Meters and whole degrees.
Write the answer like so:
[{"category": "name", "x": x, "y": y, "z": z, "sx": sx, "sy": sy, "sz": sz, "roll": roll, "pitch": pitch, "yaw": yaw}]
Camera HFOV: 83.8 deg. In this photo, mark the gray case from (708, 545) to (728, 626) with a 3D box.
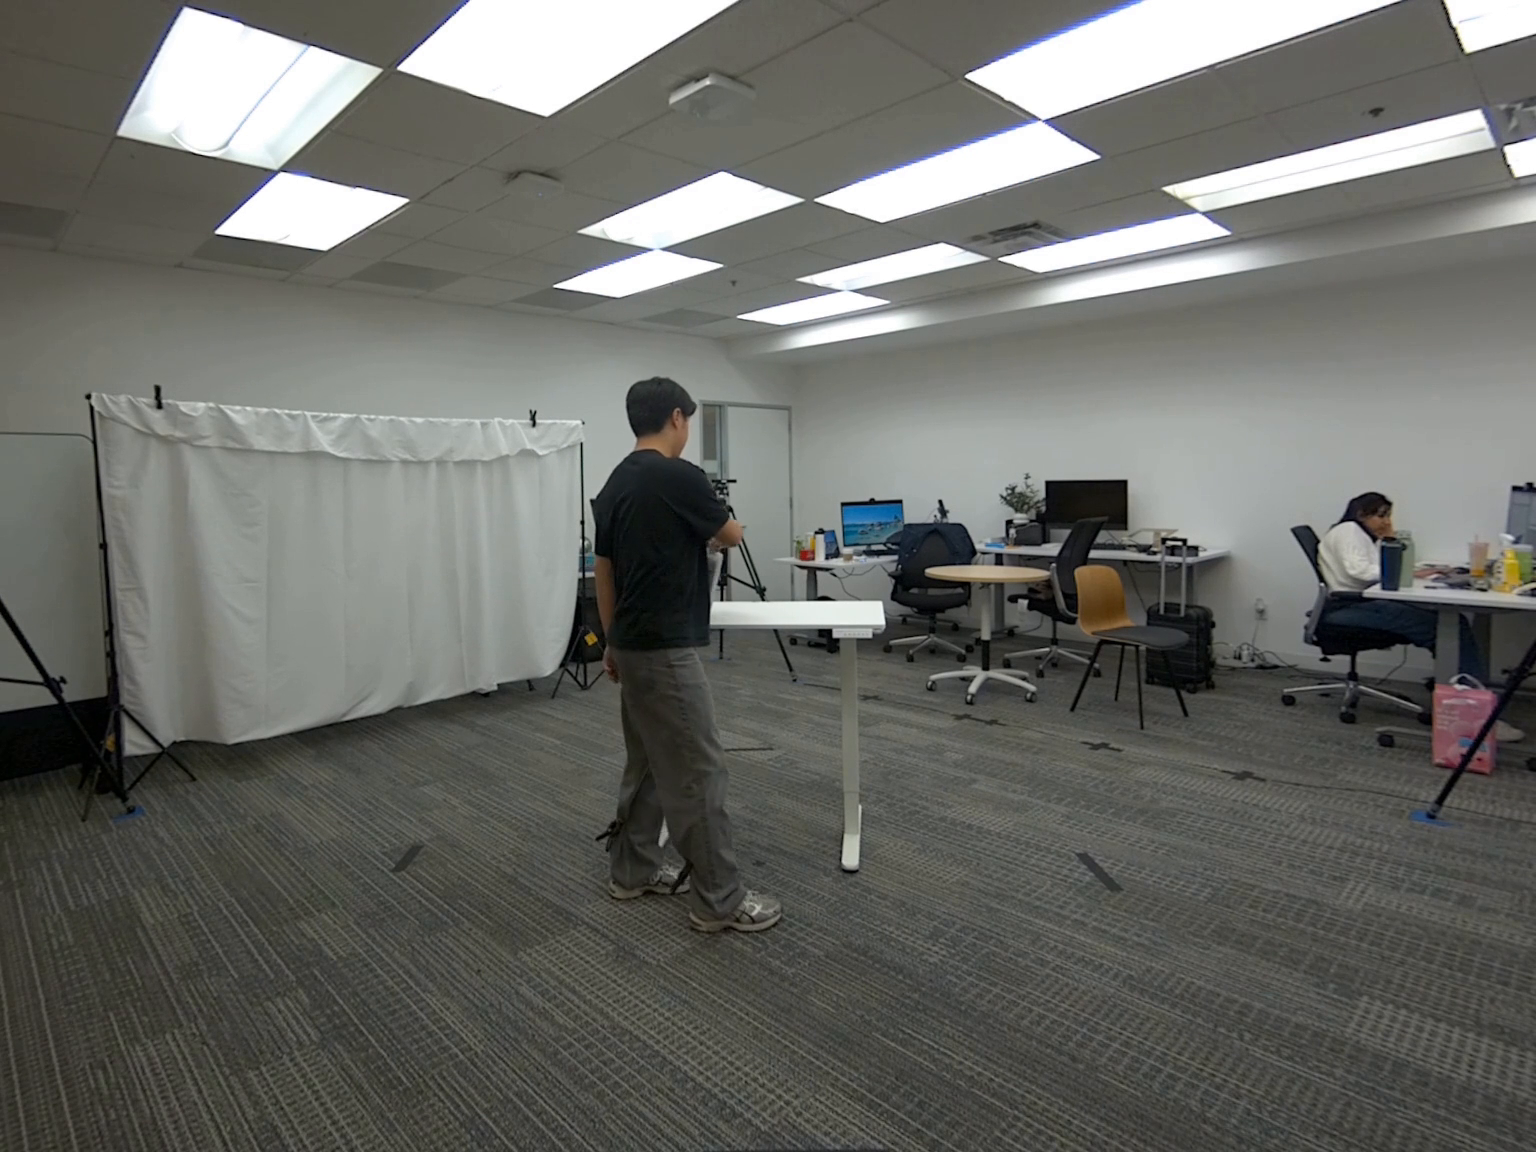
[{"category": "gray case", "x": -0.236, "y": 0.023, "z": 3.169, "sx": 0.103, "sy": 0.286, "sz": 0.263, "roll": 10, "pitch": 6, "yaw": 3}]
